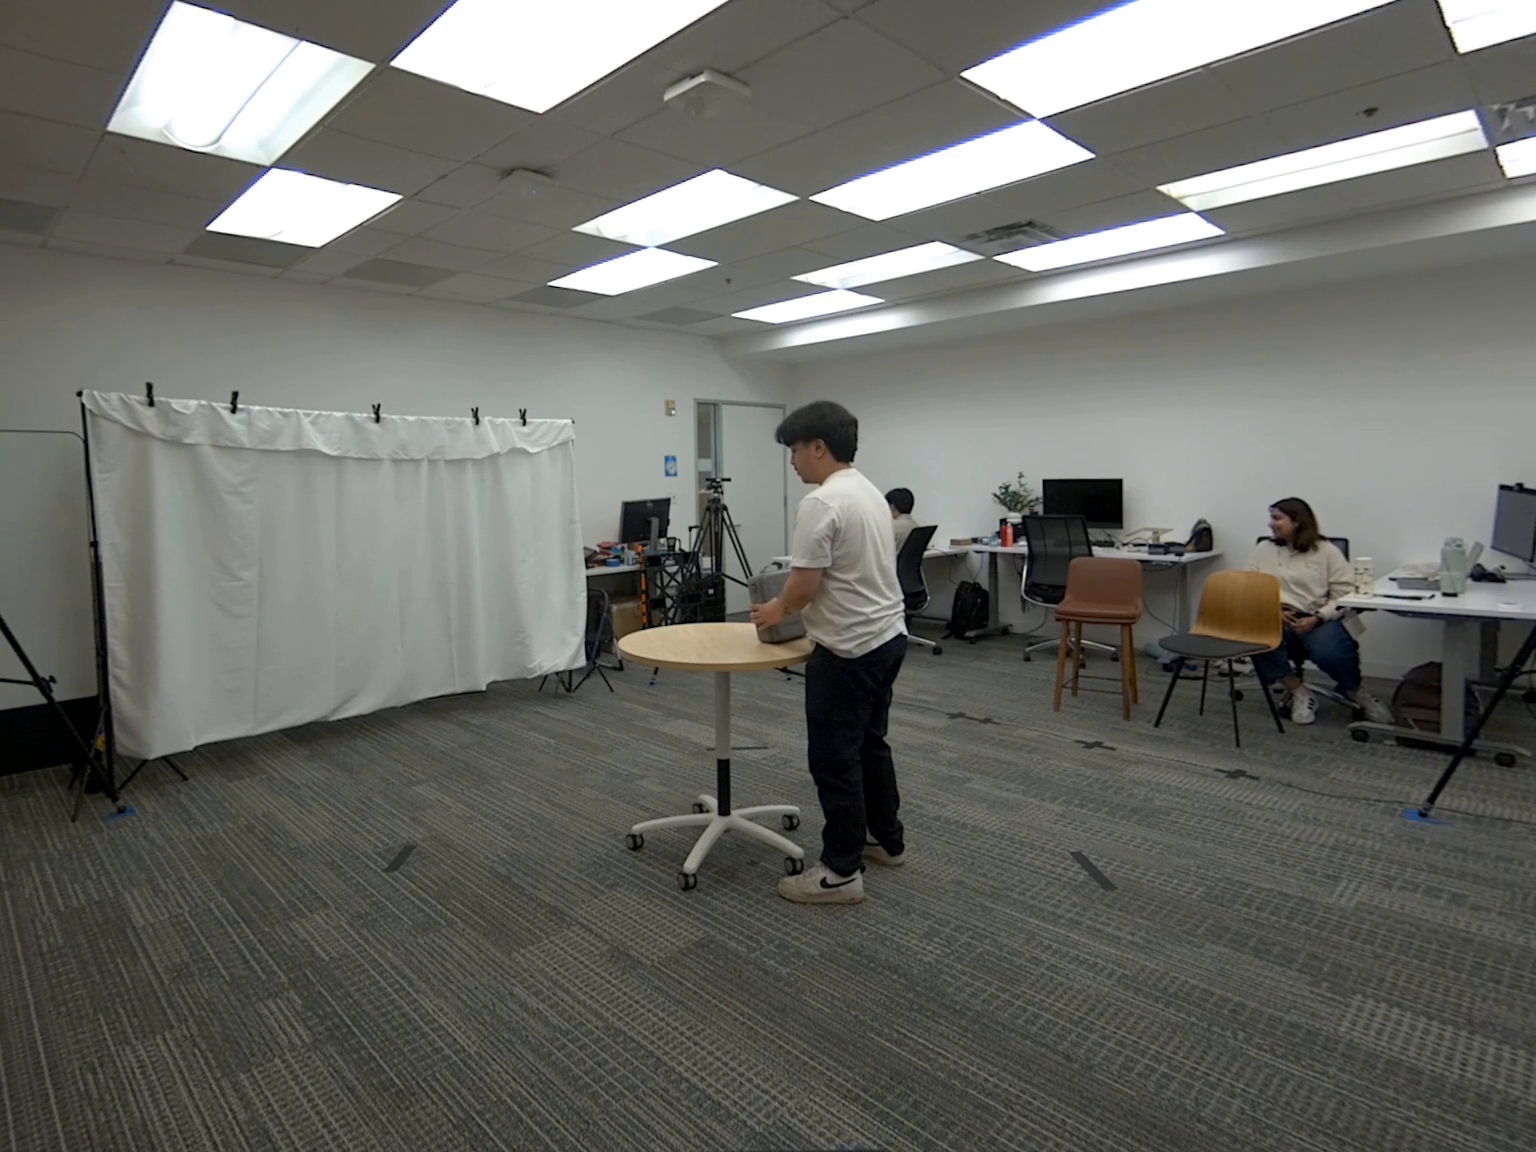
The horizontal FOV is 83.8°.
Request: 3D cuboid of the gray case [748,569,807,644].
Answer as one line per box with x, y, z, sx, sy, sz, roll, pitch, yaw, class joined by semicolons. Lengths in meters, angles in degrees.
0.050;0.101;3.182;0.107;0.262;0.250;-12;-4;41;gray case
